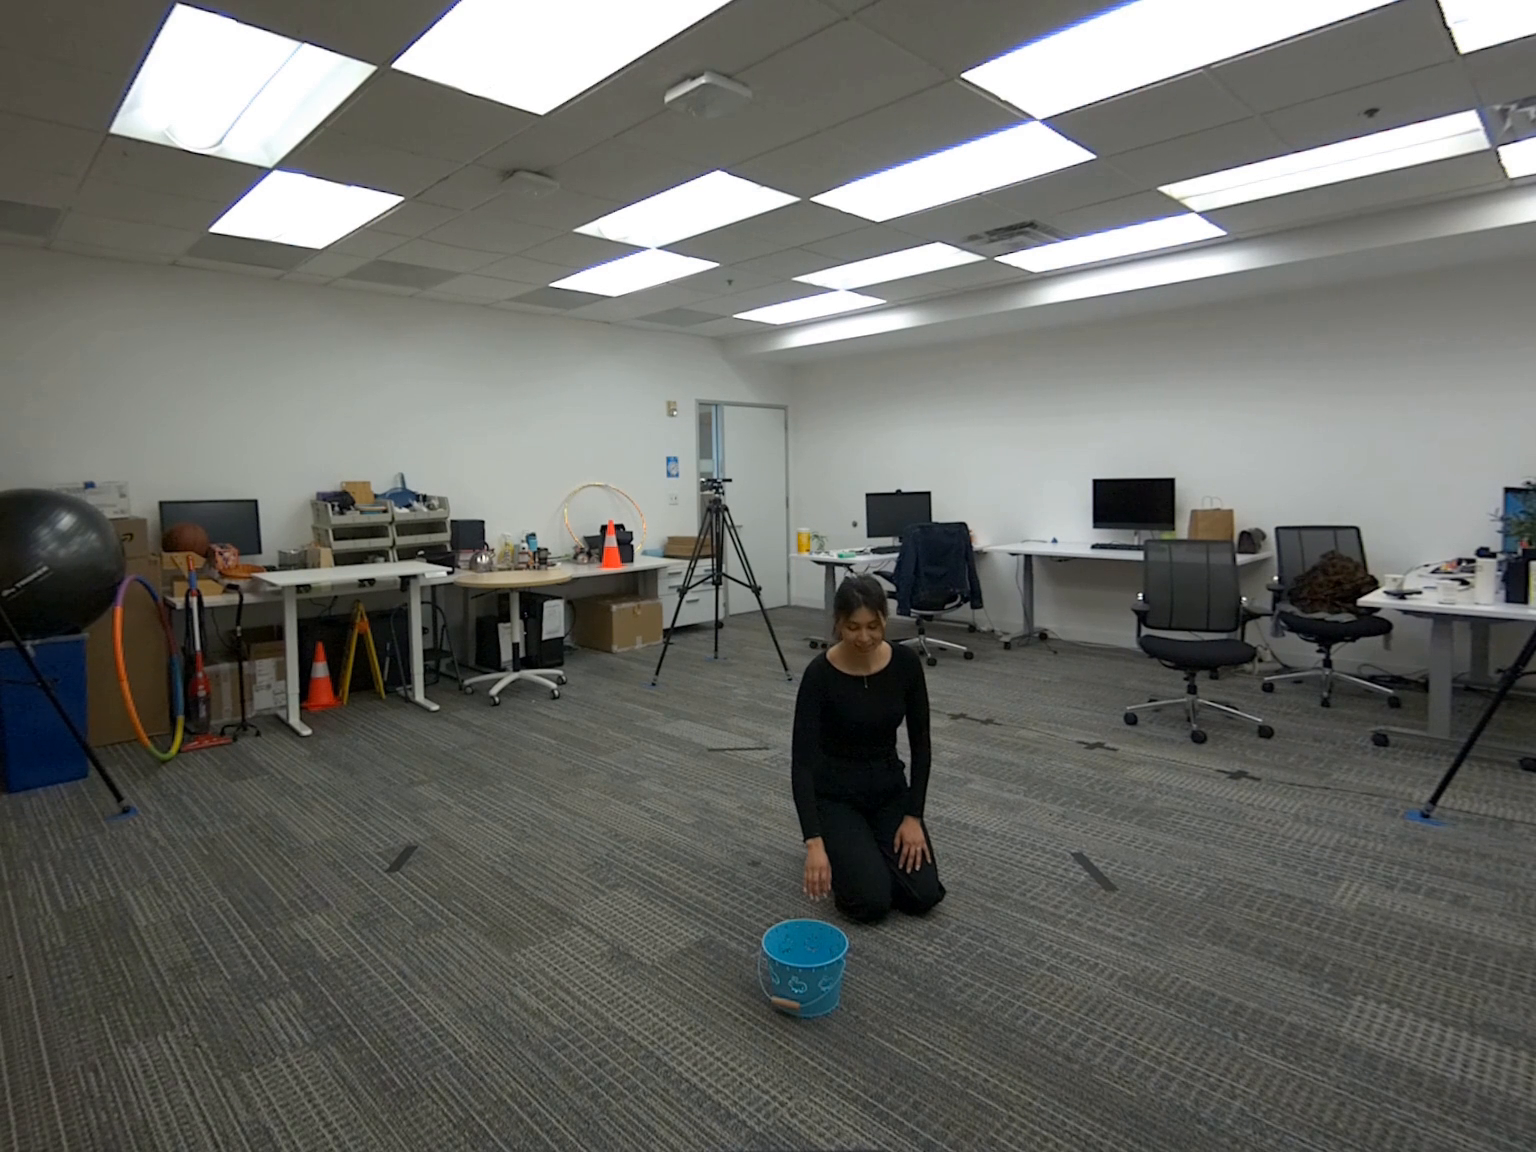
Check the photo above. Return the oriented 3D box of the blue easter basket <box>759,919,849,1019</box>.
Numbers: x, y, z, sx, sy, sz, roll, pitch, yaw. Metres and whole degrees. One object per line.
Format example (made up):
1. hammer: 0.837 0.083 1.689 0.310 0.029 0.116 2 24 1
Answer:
1. blue easter basket: 0.101 1.060 2.303 0.243 0.155 0.245 -1 5 -2
